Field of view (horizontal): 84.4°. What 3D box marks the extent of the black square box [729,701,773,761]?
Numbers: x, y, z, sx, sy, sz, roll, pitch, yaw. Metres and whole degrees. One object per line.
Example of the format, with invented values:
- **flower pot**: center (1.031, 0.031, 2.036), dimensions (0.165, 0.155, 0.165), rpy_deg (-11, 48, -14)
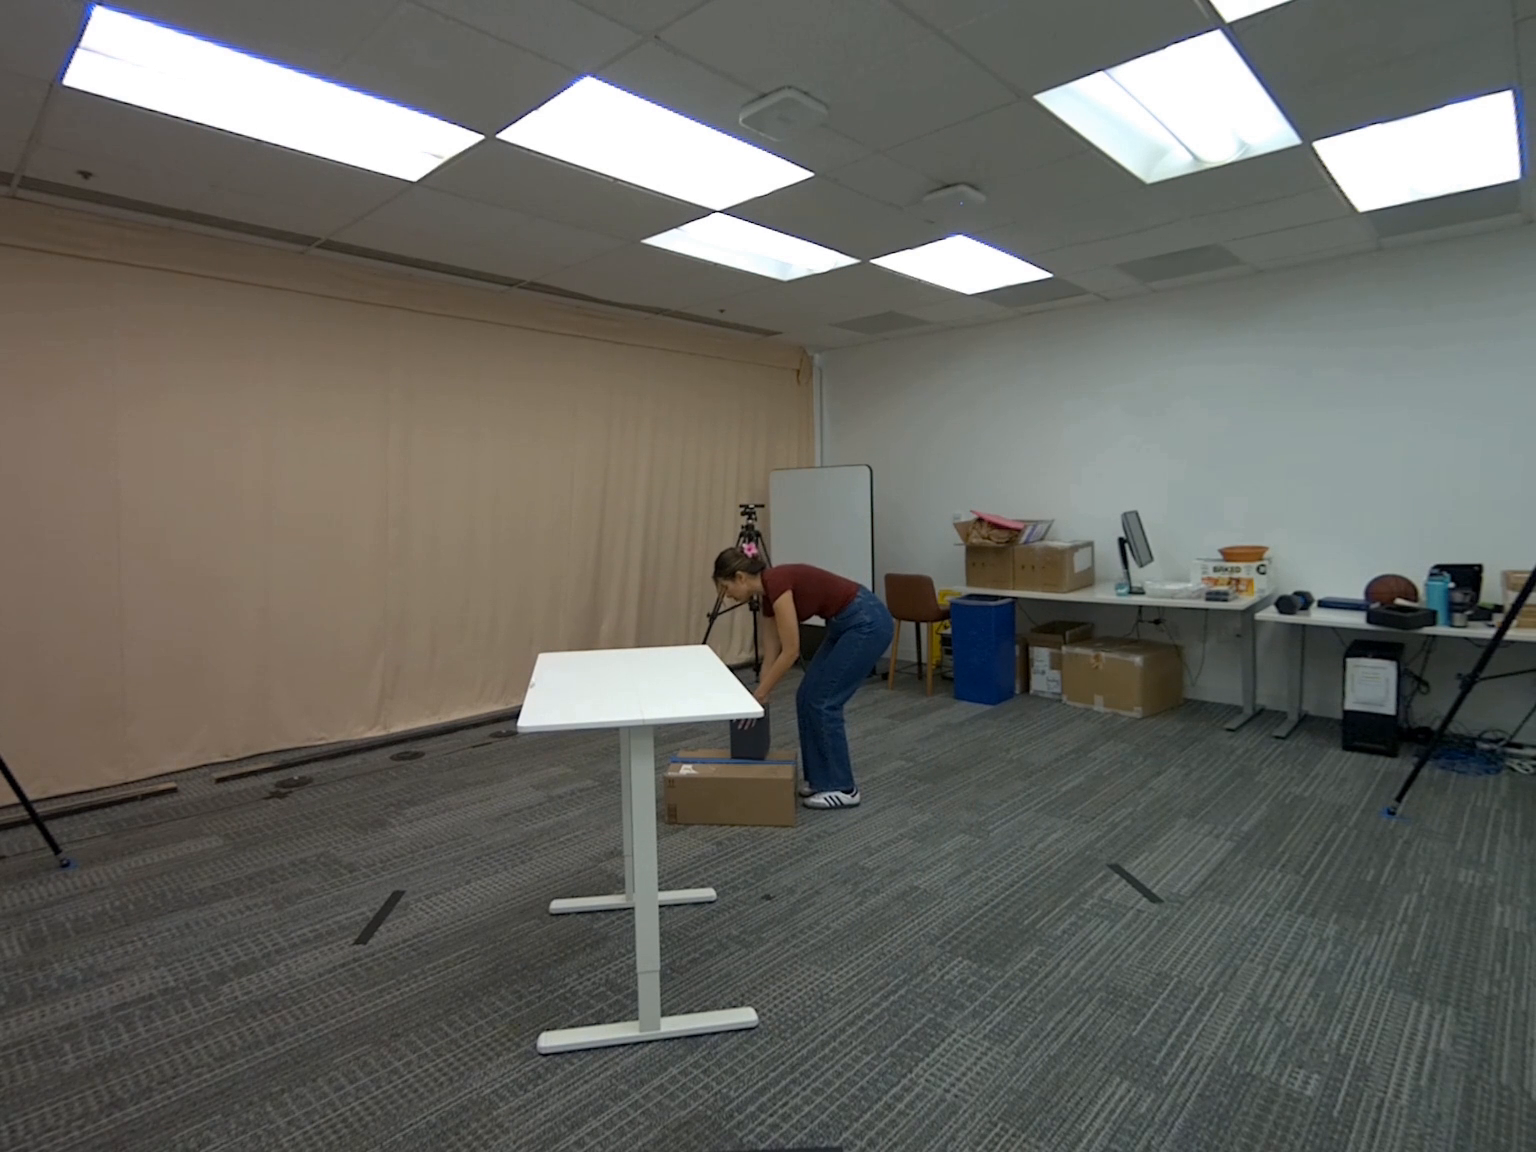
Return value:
- **black square box**: center (-0.080, 0.719, 3.967), dimensions (0.158, 0.217, 0.225), rpy_deg (-1, 2, 10)
